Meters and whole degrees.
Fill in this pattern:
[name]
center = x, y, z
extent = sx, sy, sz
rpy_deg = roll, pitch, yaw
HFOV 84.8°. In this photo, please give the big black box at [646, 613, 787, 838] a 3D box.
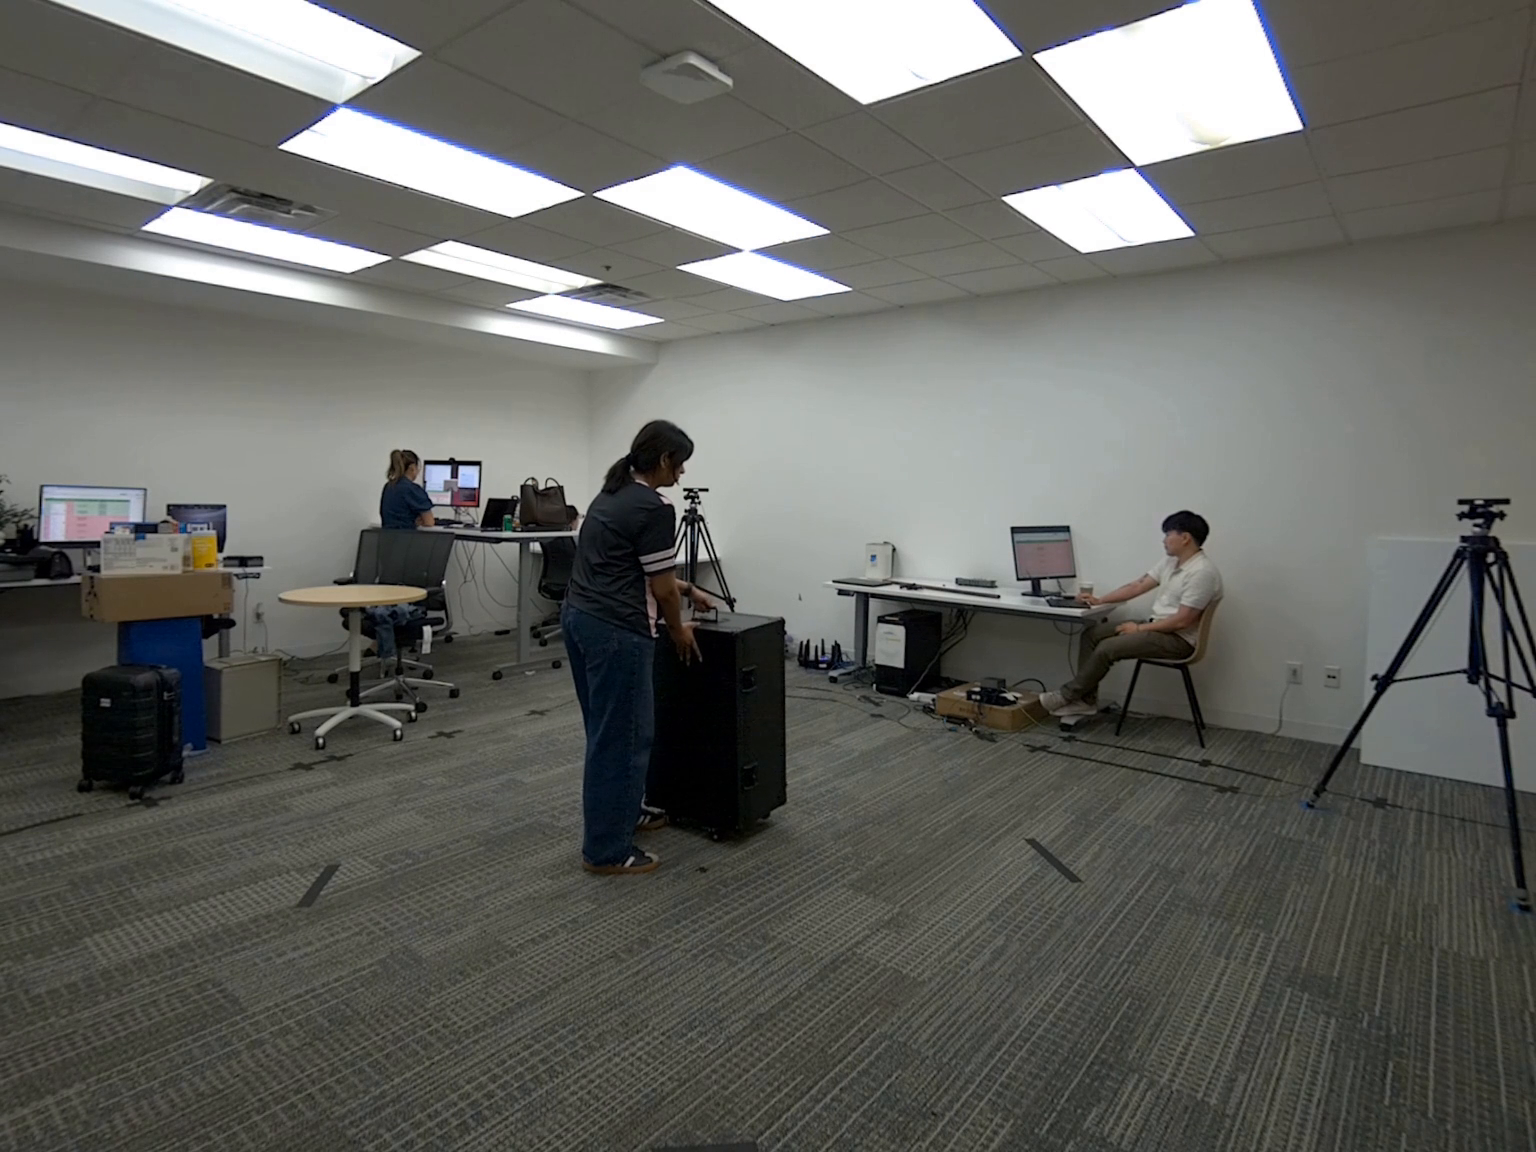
[big black box]
center = -0.231, 0.599, 3.532
extent = 0.540, 0.864, 0.375
rpy_deg = 3, 7, 35
